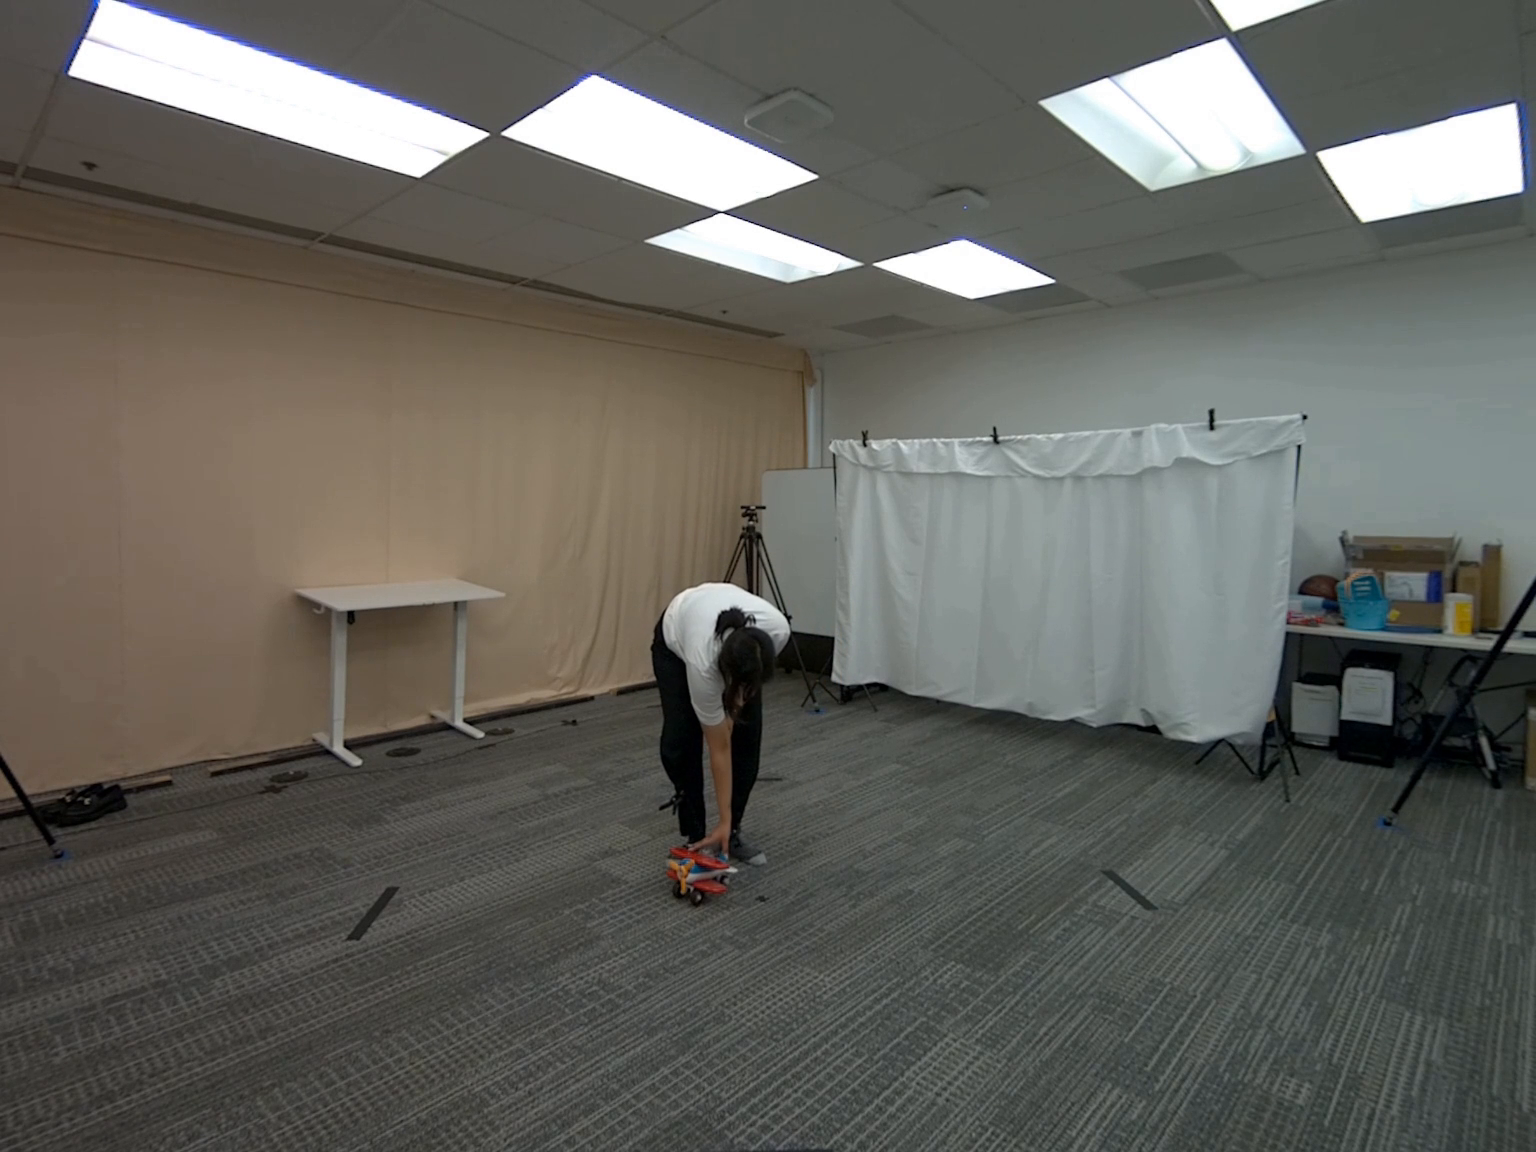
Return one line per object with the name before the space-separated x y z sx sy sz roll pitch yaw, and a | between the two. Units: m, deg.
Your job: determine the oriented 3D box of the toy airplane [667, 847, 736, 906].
toy airplane | -0.247 1.064 3.041 0.254 0.156 0.257 -2 5 9
